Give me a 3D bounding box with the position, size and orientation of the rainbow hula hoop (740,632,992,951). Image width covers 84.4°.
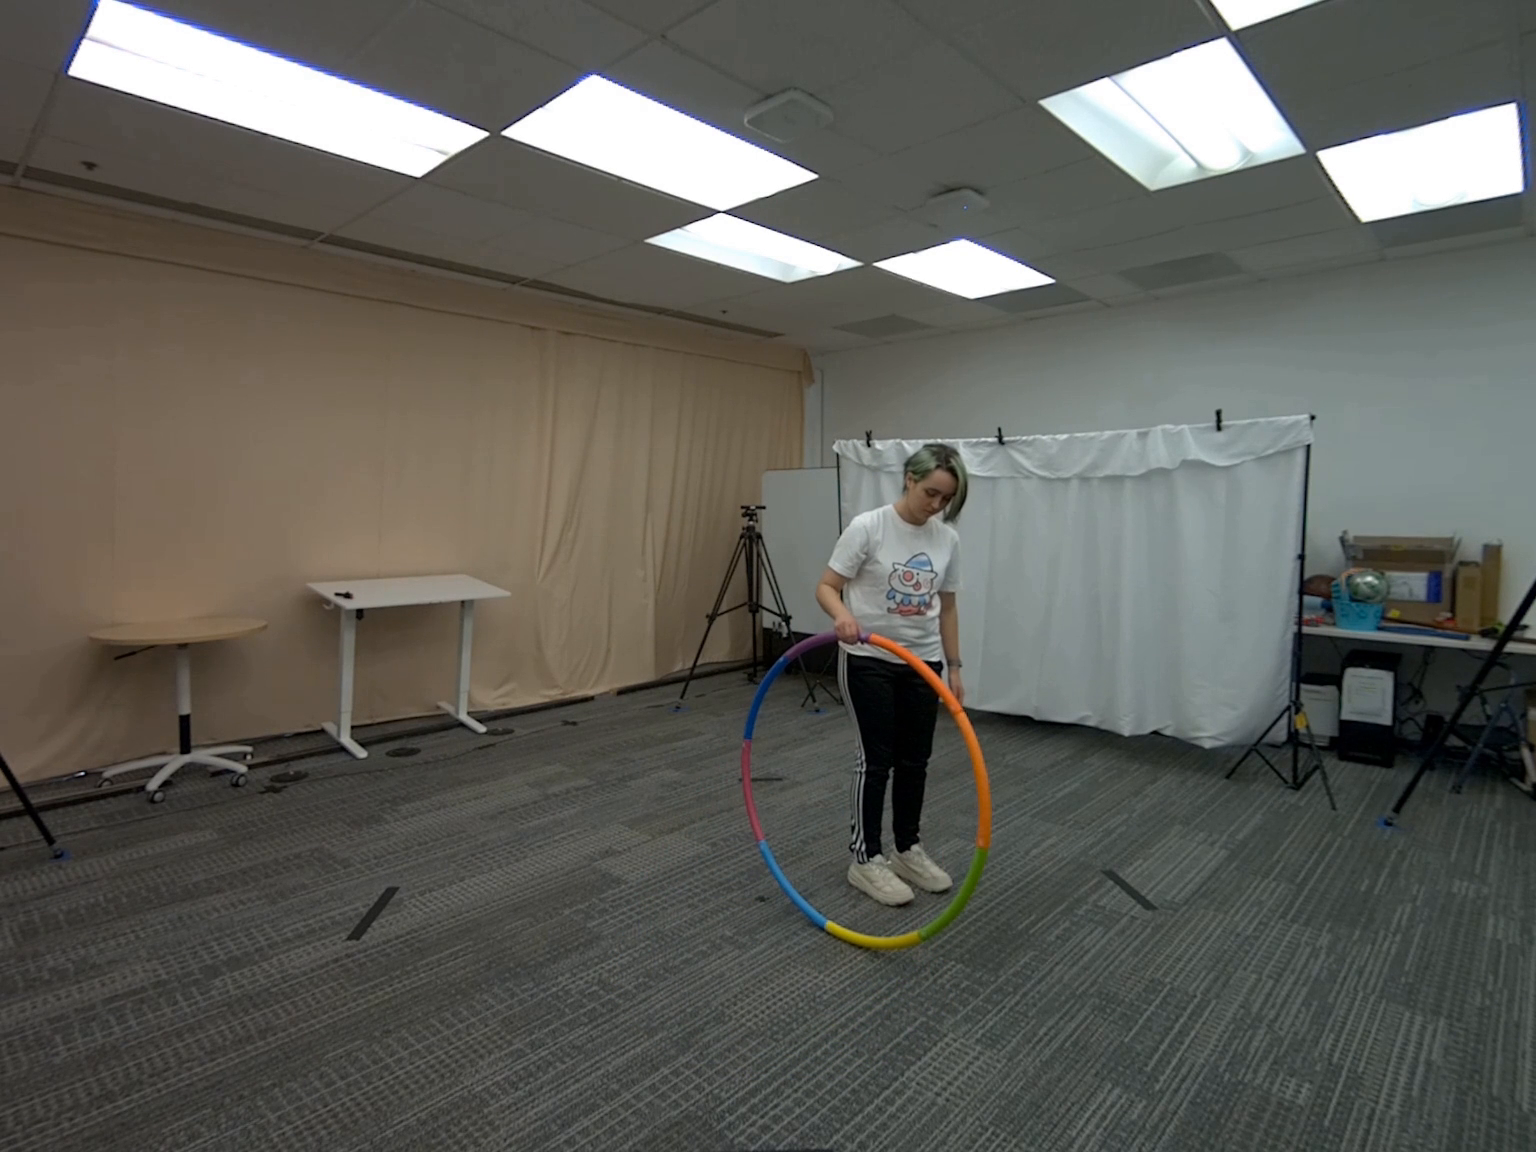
[{"bbox_3d":[0.262,0.671,2.706,1.011,0.979,0.034,4,0,45],"label":"rainbow hula hoop"}]
